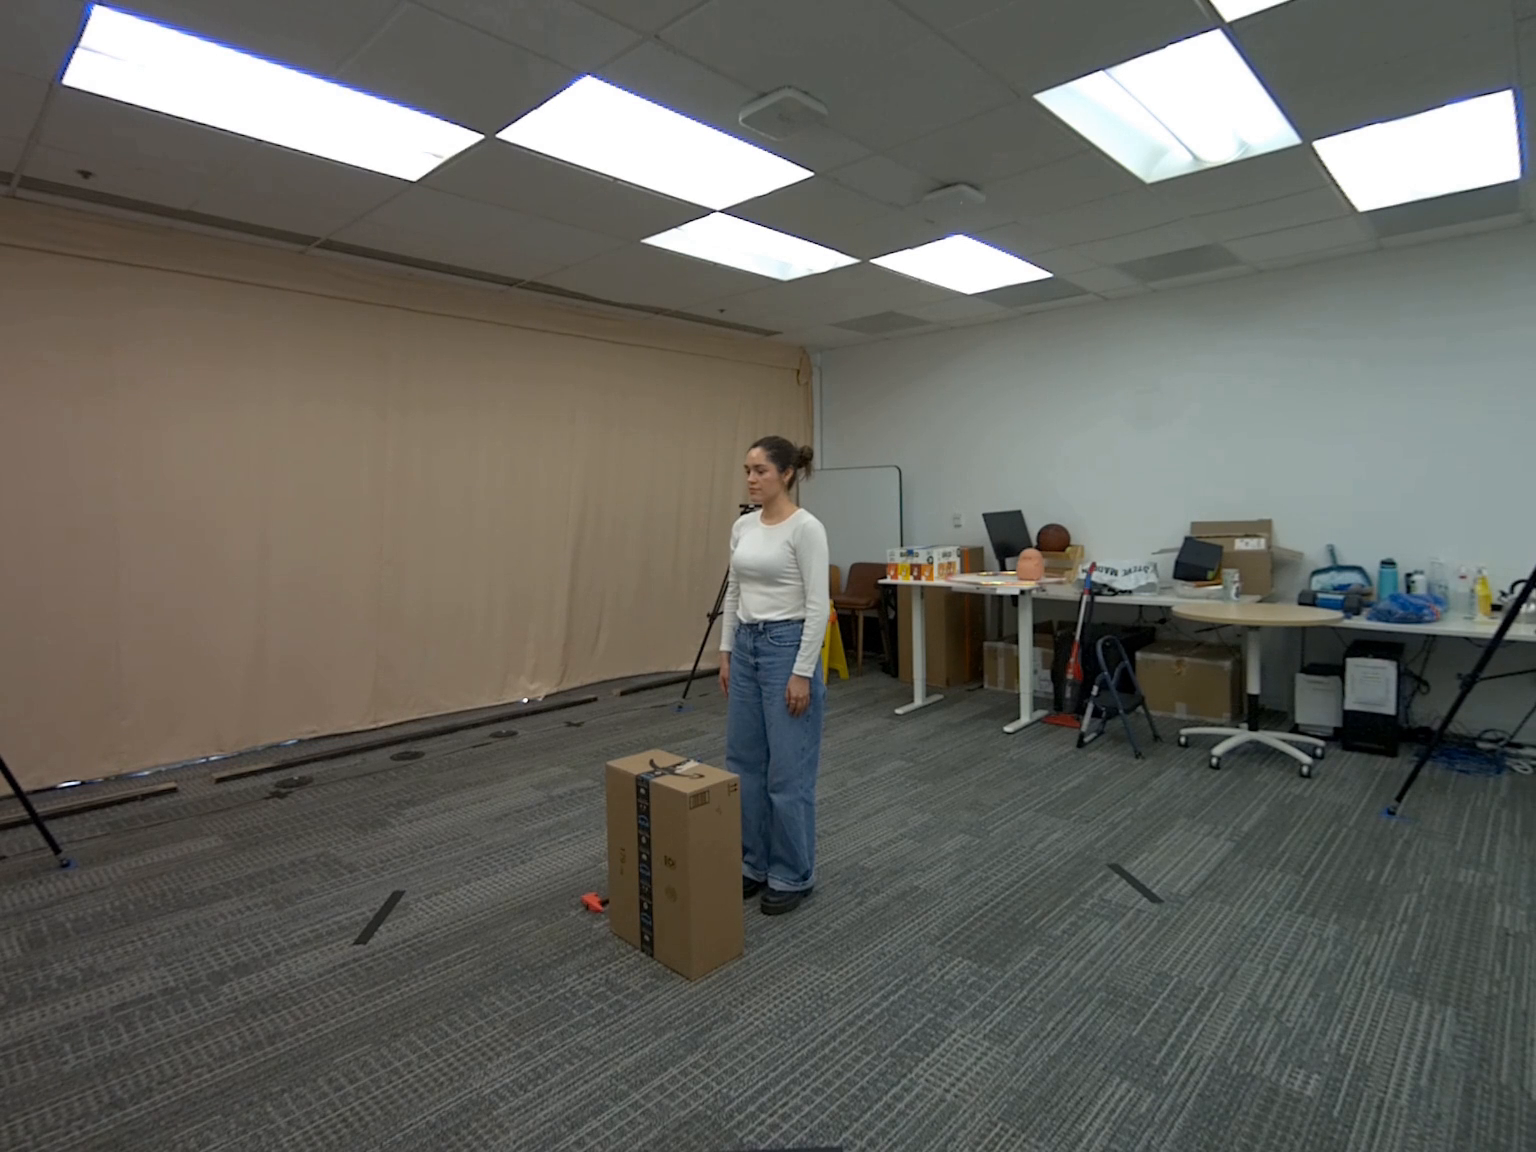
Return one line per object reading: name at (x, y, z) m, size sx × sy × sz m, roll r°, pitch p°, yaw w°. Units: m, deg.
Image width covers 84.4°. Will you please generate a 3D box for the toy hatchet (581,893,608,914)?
toy hatchet at (-0.563, 1.140, 3.027) m, size 0.135 × 0.029 × 0.263 m, roll 0°, pitch 4°, yaw 30°
